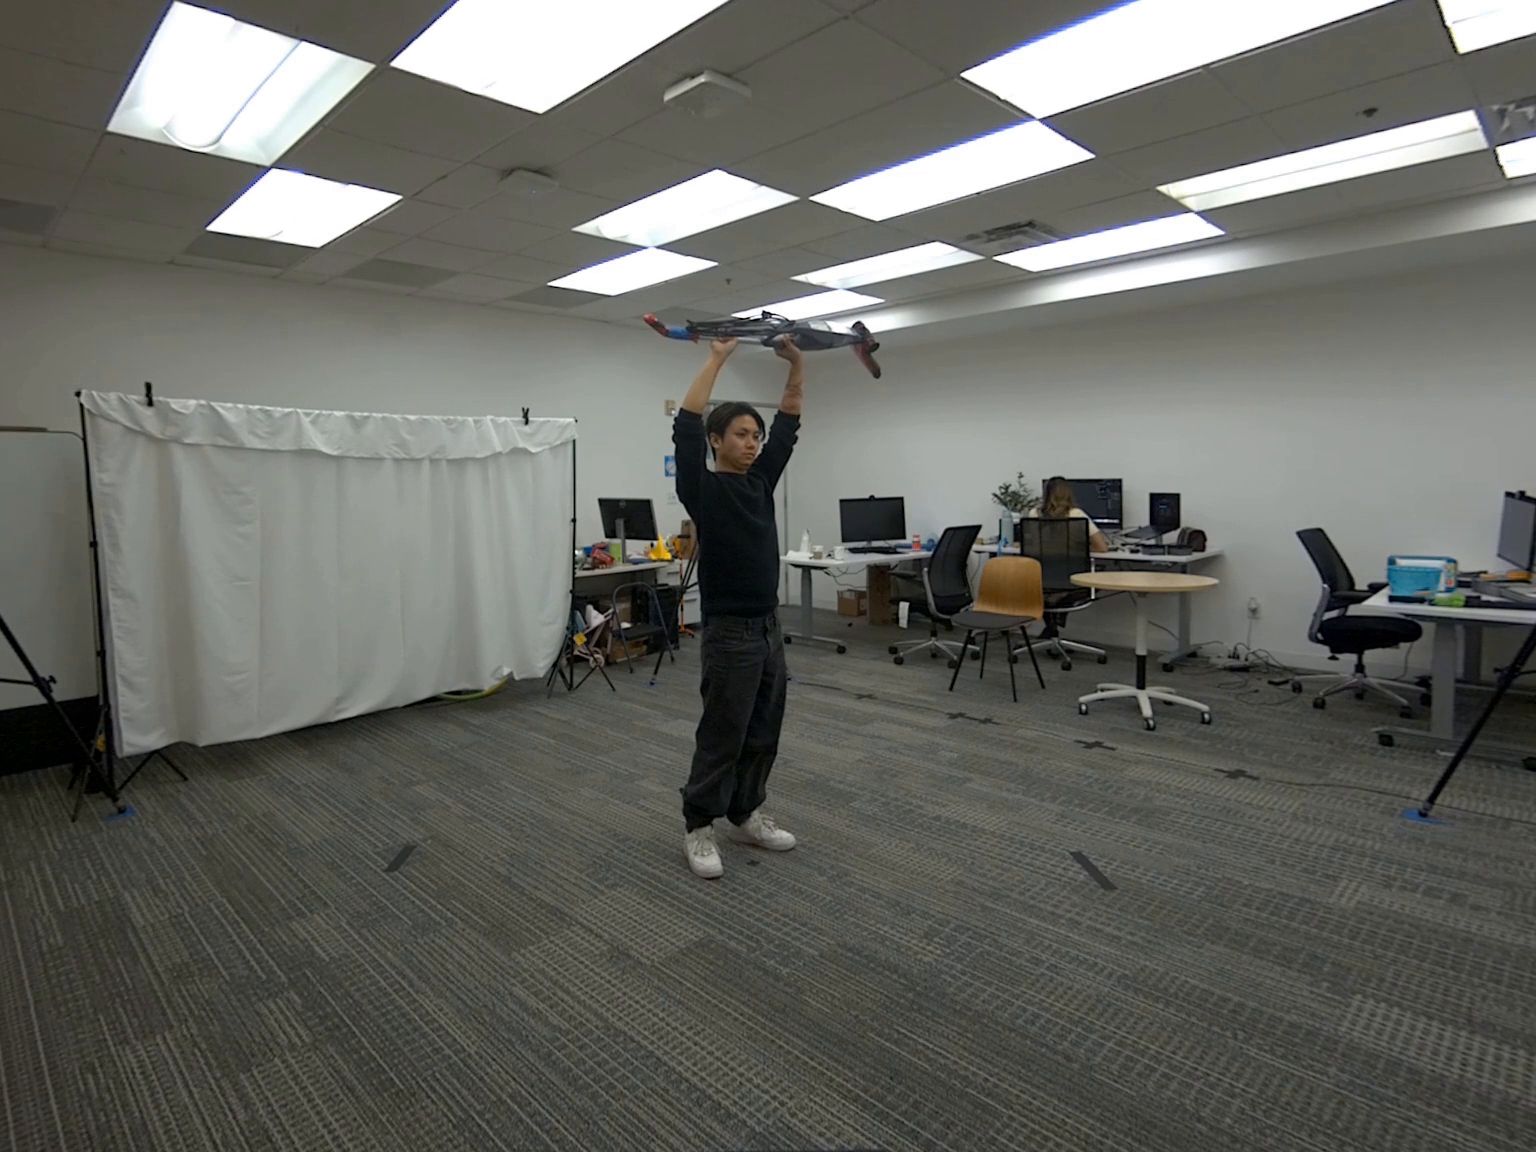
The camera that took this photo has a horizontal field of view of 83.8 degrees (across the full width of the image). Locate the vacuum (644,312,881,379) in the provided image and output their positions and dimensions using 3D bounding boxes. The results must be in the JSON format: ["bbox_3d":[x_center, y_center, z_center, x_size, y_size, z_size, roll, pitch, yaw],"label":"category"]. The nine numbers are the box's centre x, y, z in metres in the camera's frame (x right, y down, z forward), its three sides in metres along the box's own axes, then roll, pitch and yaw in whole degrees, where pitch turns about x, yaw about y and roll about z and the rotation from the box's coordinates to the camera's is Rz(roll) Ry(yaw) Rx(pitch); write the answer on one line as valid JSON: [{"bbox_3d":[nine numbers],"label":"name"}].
[{"bbox_3d":[0.006,-0.866,3.034,1.022,0.261,0.143,-6,-37,-41],"label":"vacuum"}]
